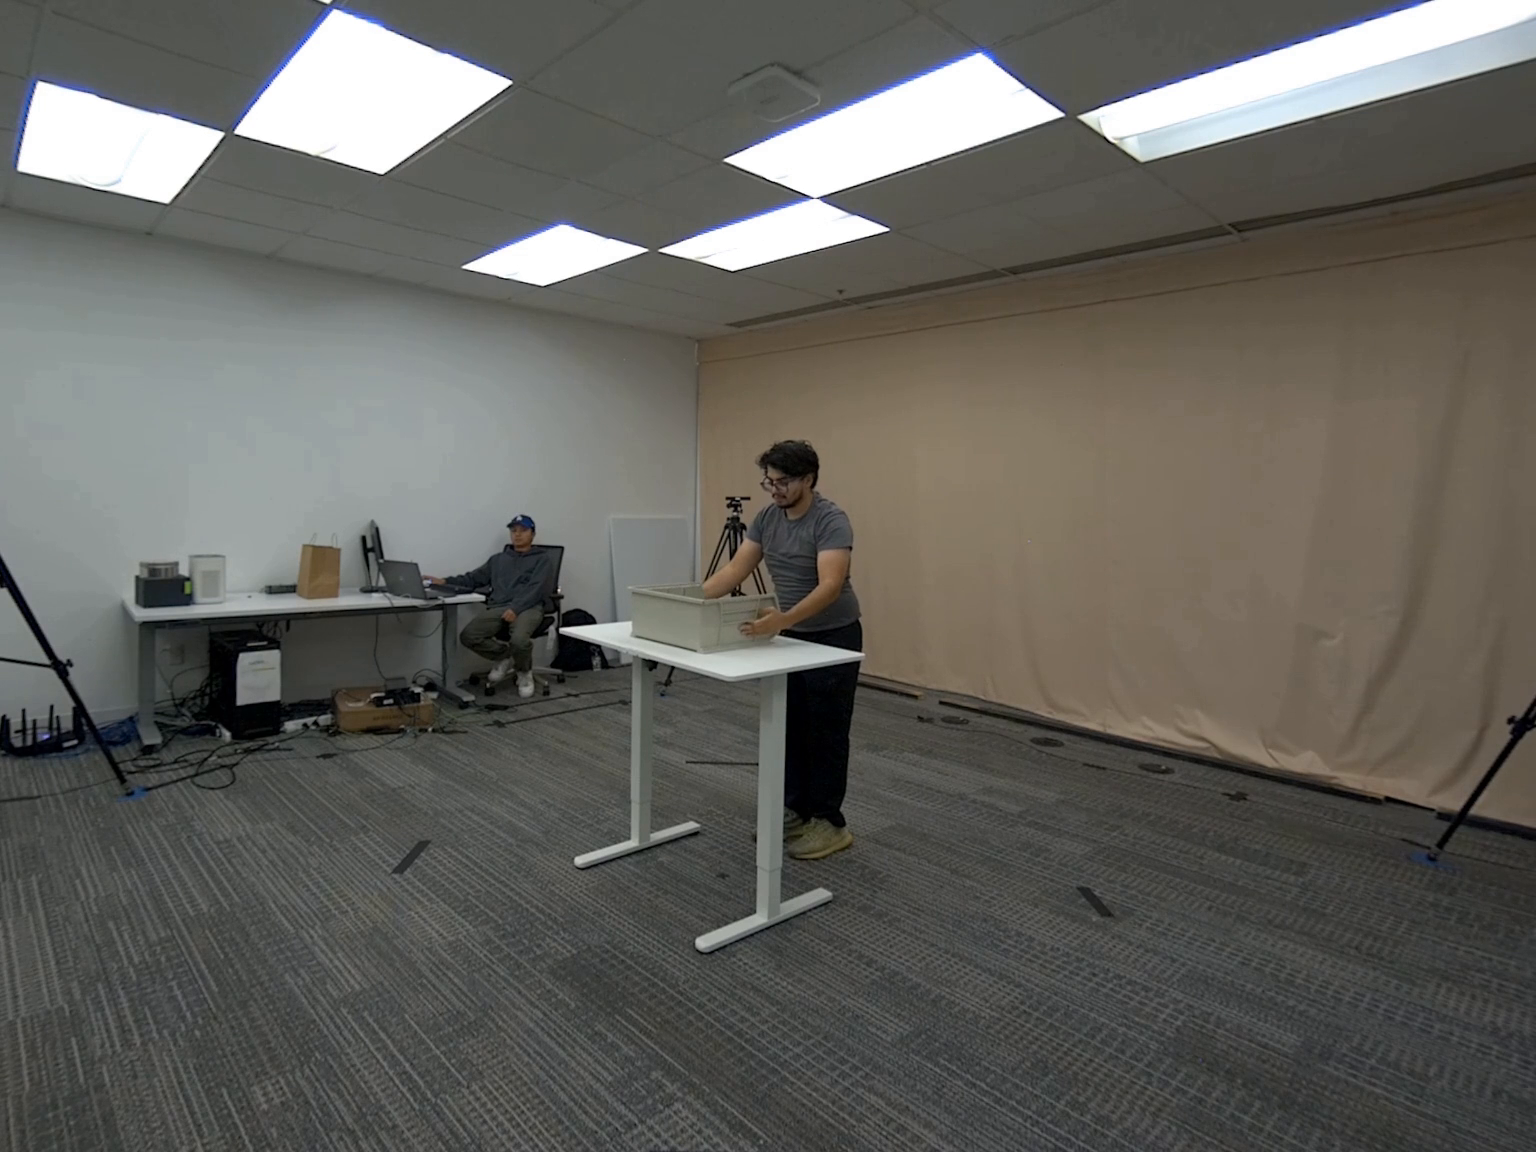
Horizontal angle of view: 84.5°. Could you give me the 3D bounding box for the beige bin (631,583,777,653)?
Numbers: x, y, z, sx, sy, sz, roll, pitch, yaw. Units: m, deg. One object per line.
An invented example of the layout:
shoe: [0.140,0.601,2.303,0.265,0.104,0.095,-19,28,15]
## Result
beige bin: [-0.236,0.140,3.002,0.369,0.188,0.433,-6,9,-43]
